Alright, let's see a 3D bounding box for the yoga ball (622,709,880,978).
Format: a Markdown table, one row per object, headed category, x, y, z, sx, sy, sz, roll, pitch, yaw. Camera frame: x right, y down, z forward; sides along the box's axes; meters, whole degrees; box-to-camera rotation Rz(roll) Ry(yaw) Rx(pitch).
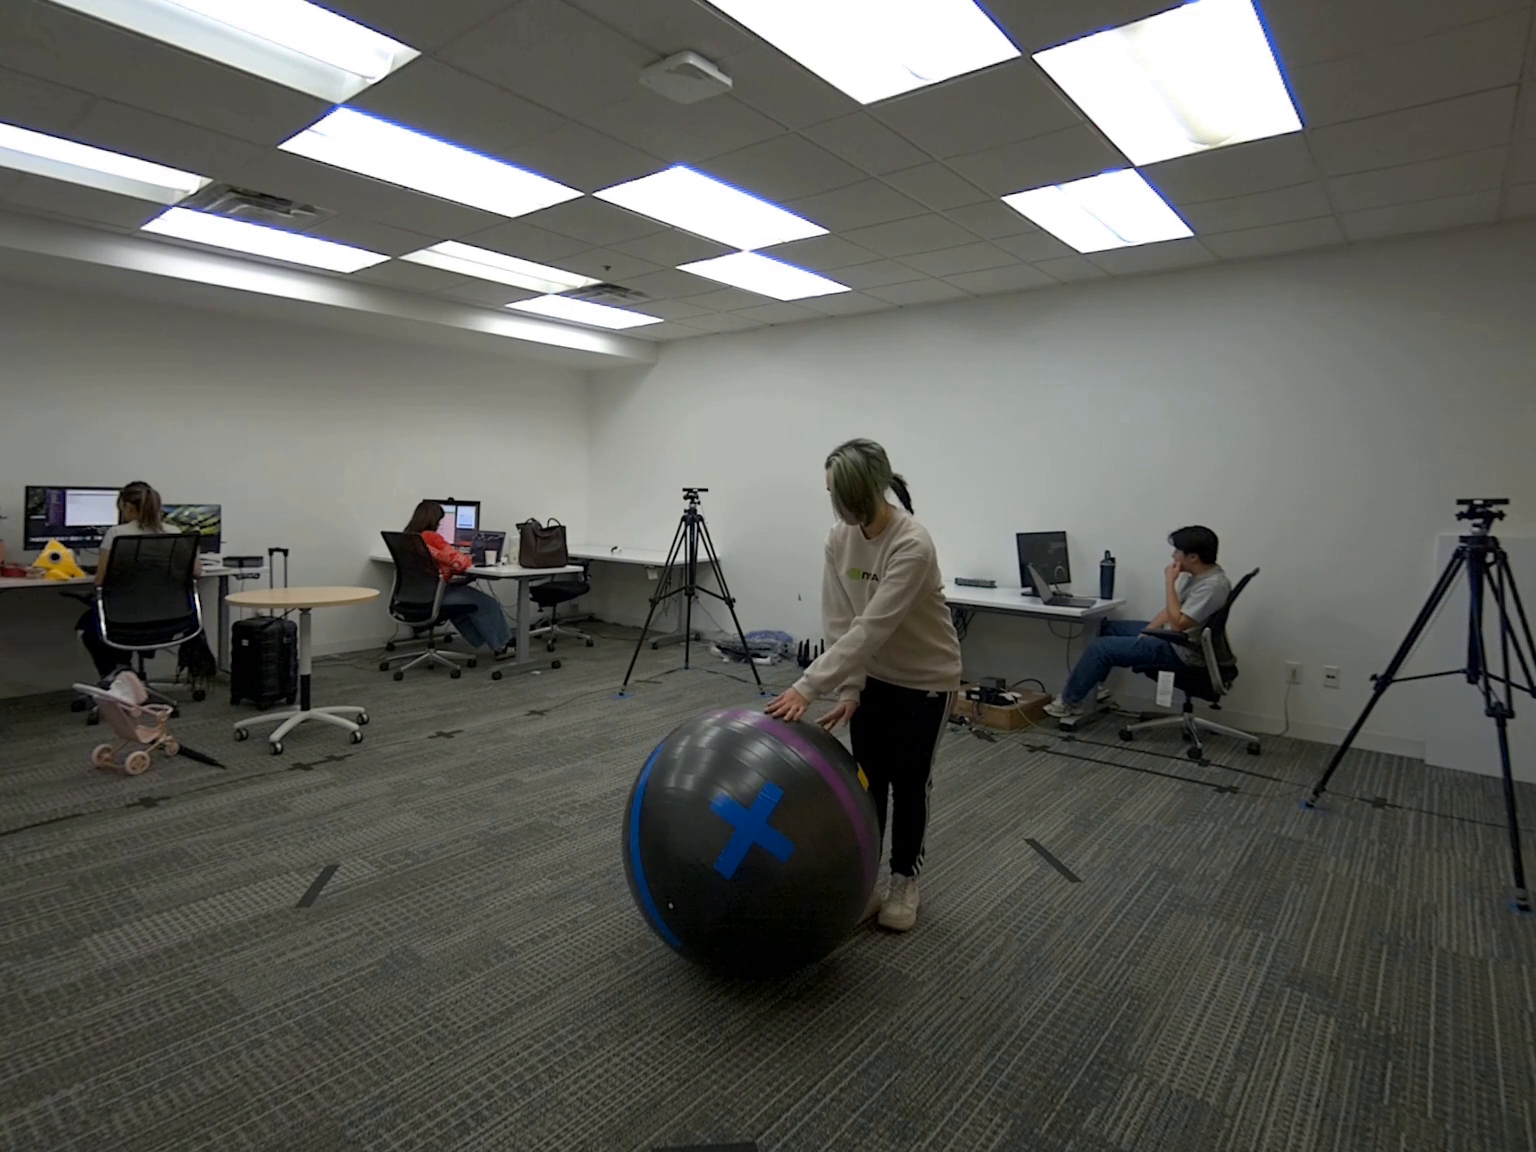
| category | x | y | z | sx | sy | sz | roll | pitch | yaw |
| --- | --- | --- | --- | --- | --- | --- | --- | --- | --- |
| yoga ball | -0.063 | 0.766 | 2.496 | 0.757 | 0.755 | 0.762 | 1 | 4 | -2 |
